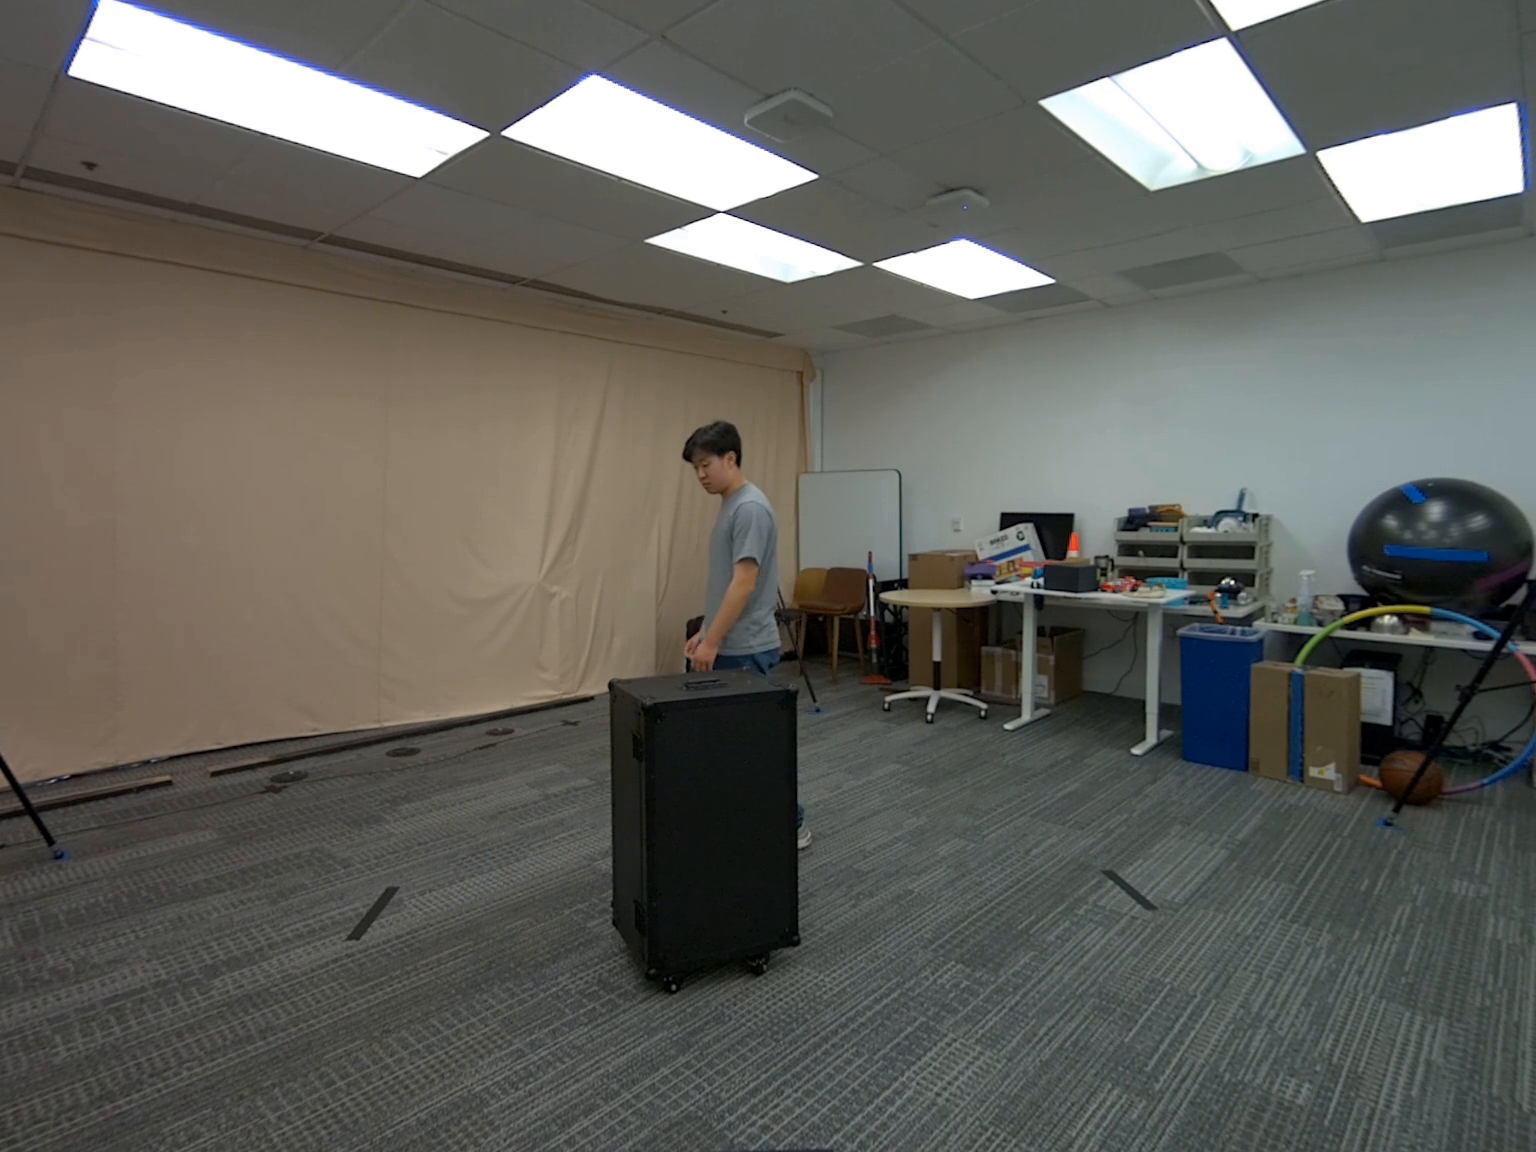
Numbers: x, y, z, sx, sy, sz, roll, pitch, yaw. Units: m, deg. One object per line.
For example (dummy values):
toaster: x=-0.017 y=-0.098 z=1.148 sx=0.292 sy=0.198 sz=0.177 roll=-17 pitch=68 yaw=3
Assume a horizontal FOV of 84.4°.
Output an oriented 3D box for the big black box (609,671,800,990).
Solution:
big black box: x=-0.208 y=0.748 z=2.591 sx=0.509 sy=0.860 sz=0.406 roll=-2 pitch=2 yaw=-25
